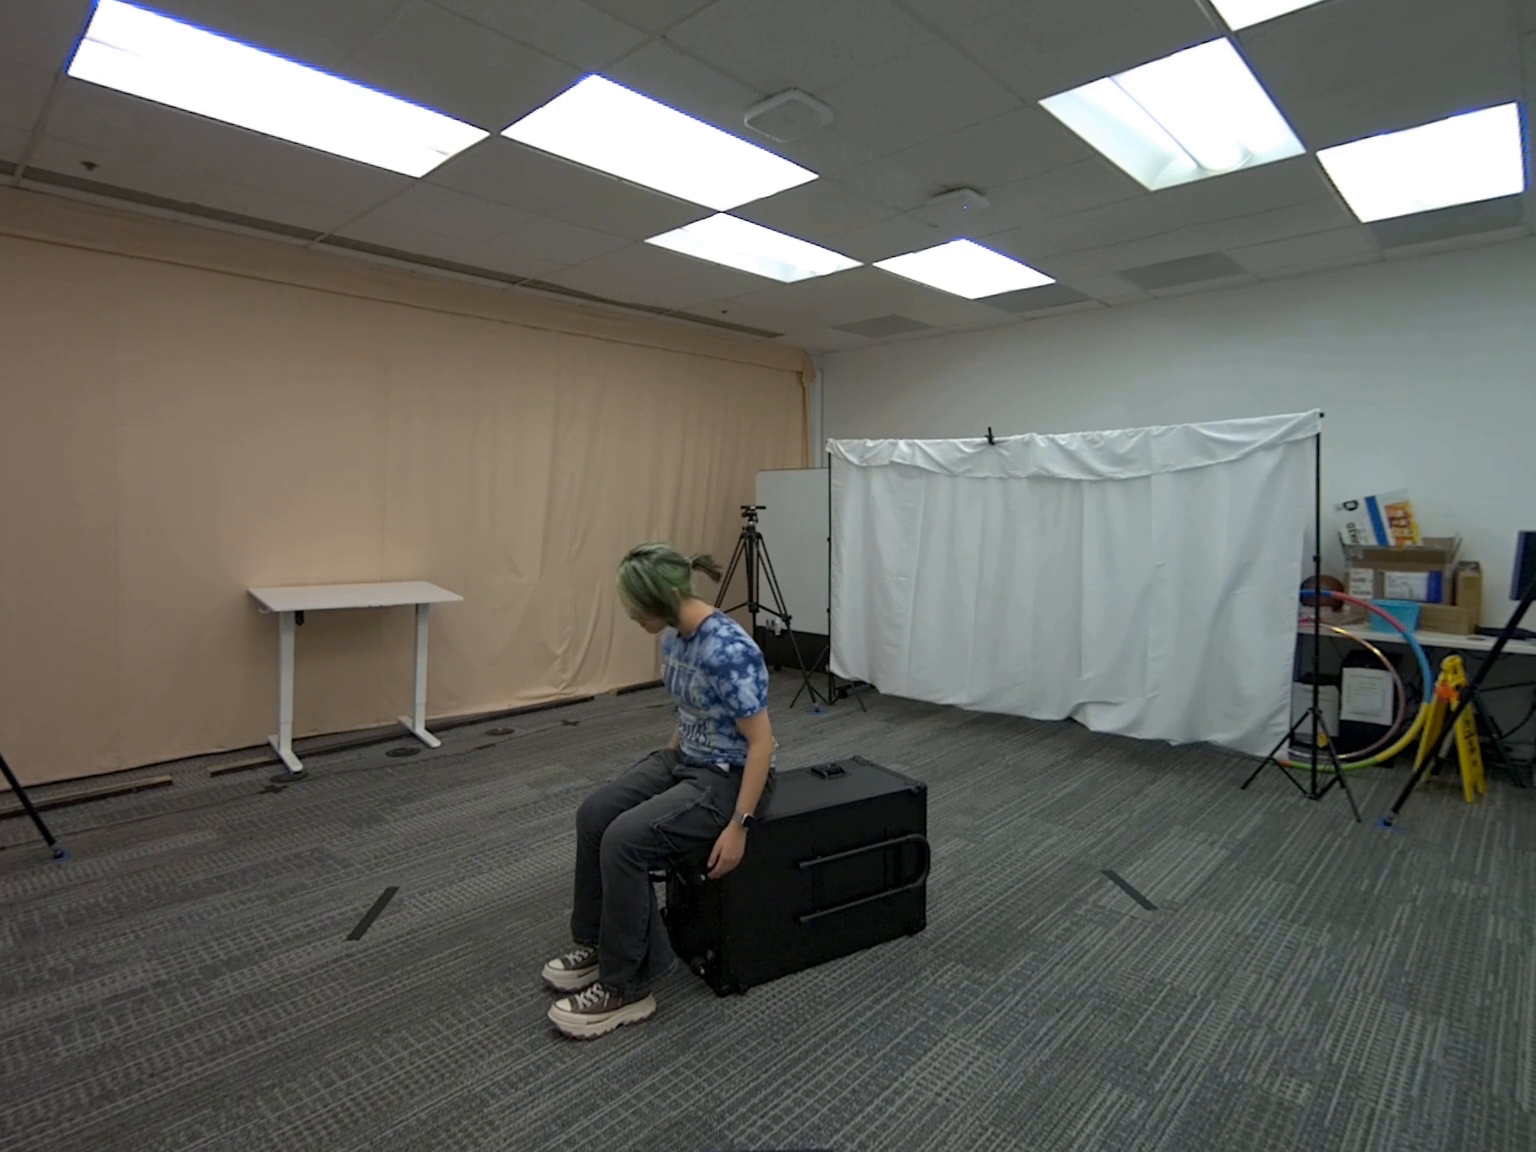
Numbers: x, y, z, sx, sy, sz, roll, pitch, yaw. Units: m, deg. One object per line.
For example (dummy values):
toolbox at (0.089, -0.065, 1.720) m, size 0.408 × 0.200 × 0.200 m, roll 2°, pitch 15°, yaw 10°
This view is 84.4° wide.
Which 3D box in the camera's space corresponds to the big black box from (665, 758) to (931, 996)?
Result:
big black box at (0.082, 0.929, 2.686) m, size 0.839 × 0.520 × 0.408 m, roll -4°, pitch 4°, yaw -29°
